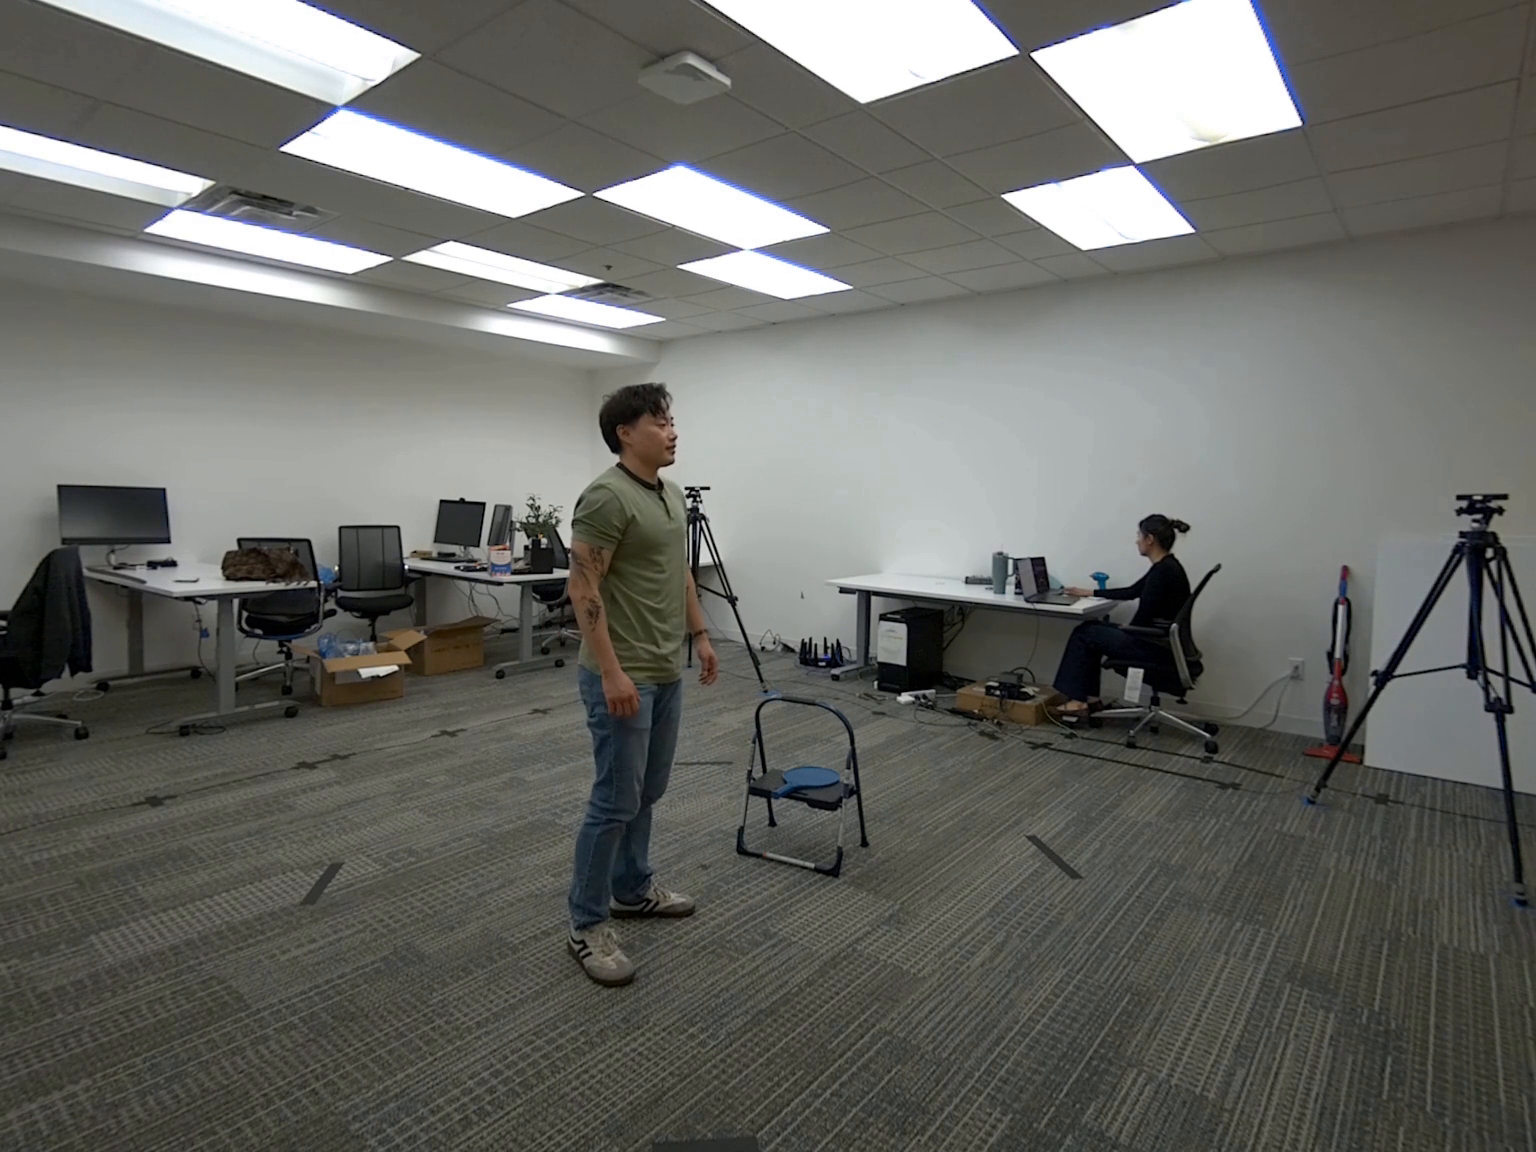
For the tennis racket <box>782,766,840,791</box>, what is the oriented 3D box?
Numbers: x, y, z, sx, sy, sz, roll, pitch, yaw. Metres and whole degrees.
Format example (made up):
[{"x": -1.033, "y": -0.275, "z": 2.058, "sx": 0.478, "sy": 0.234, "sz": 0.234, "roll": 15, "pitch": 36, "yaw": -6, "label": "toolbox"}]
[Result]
[{"x": 0.129, "y": 0.786, "z": 3.267, "sx": 0.220, "sy": 0.032, "sz": 0.421, "roll": 5, "pitch": 4, "yaw": 27, "label": "tennis racket"}]
